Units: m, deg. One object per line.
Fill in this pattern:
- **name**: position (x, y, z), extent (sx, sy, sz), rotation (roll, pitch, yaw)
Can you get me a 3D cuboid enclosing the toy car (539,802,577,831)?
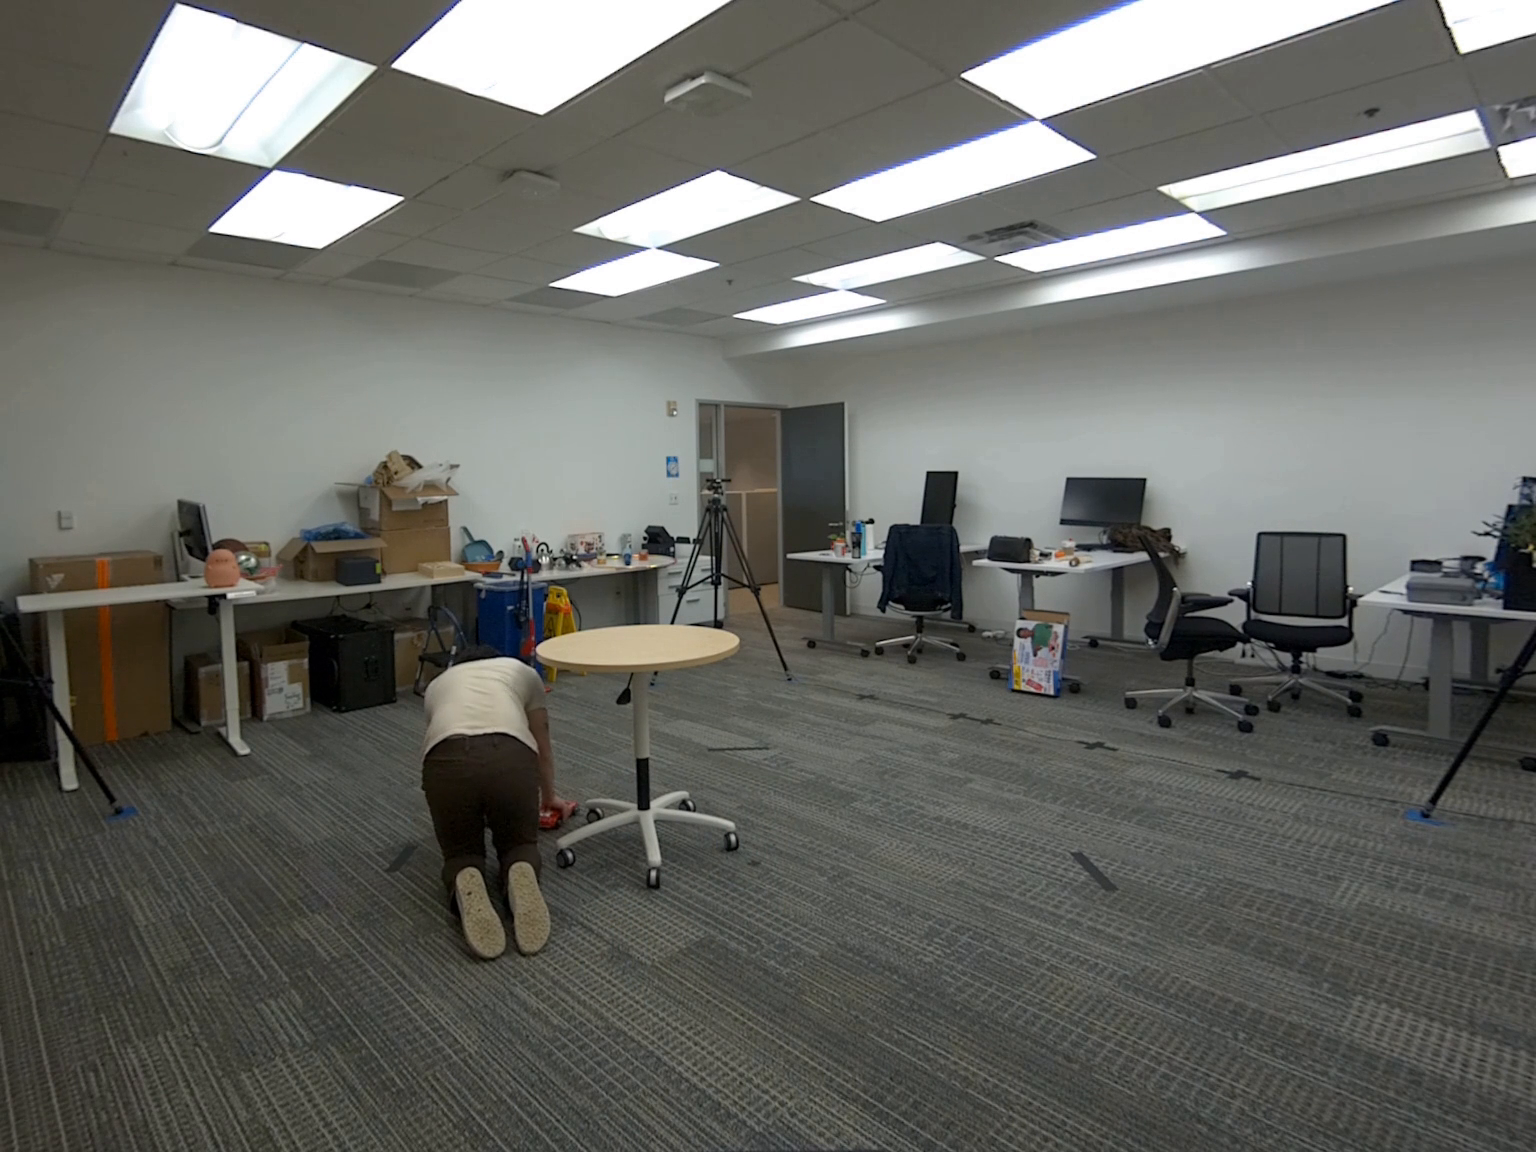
- **toy car**: position (-0.876, 0.986, 3.527), extent (0.132, 0.083, 0.249), rotation (0, -3, 17)
